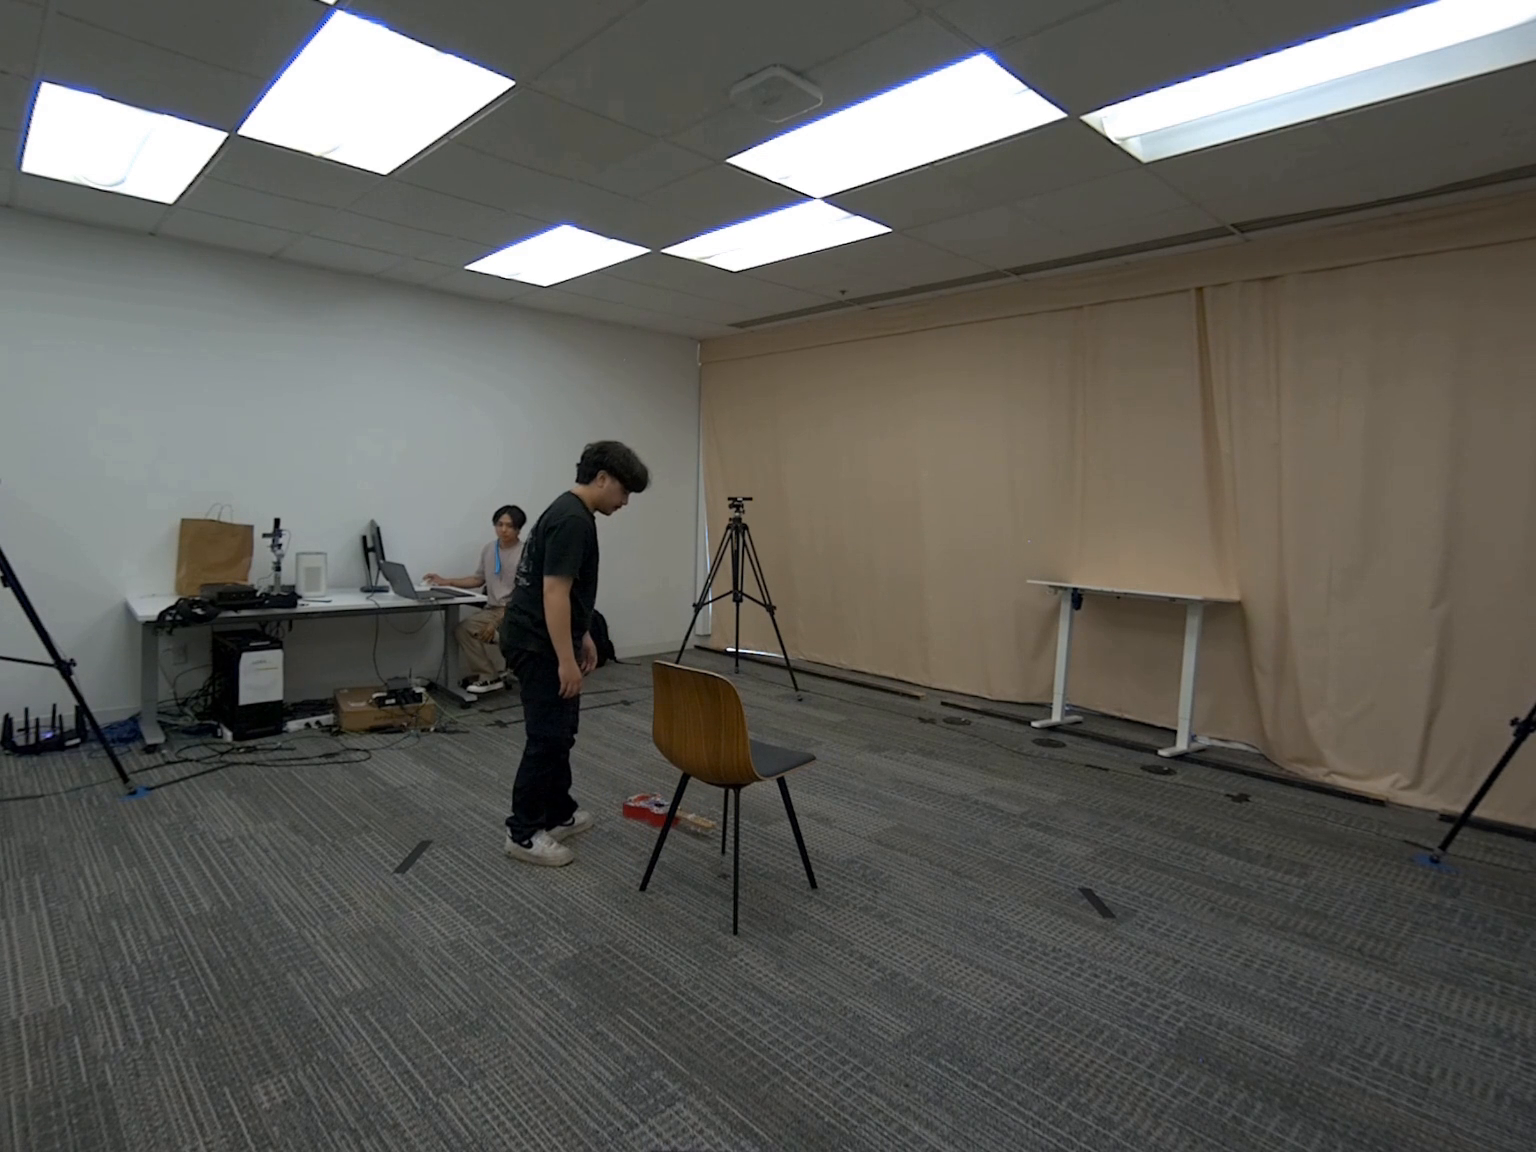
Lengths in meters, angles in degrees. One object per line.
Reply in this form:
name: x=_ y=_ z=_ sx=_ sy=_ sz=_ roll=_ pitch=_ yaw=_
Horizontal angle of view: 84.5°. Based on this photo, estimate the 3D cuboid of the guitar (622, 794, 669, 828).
guitar: x=-0.445 y=1.027 z=3.584 sx=0.188 sy=0.070 sz=0.510 roll=-2 pitch=5 yaw=-39
